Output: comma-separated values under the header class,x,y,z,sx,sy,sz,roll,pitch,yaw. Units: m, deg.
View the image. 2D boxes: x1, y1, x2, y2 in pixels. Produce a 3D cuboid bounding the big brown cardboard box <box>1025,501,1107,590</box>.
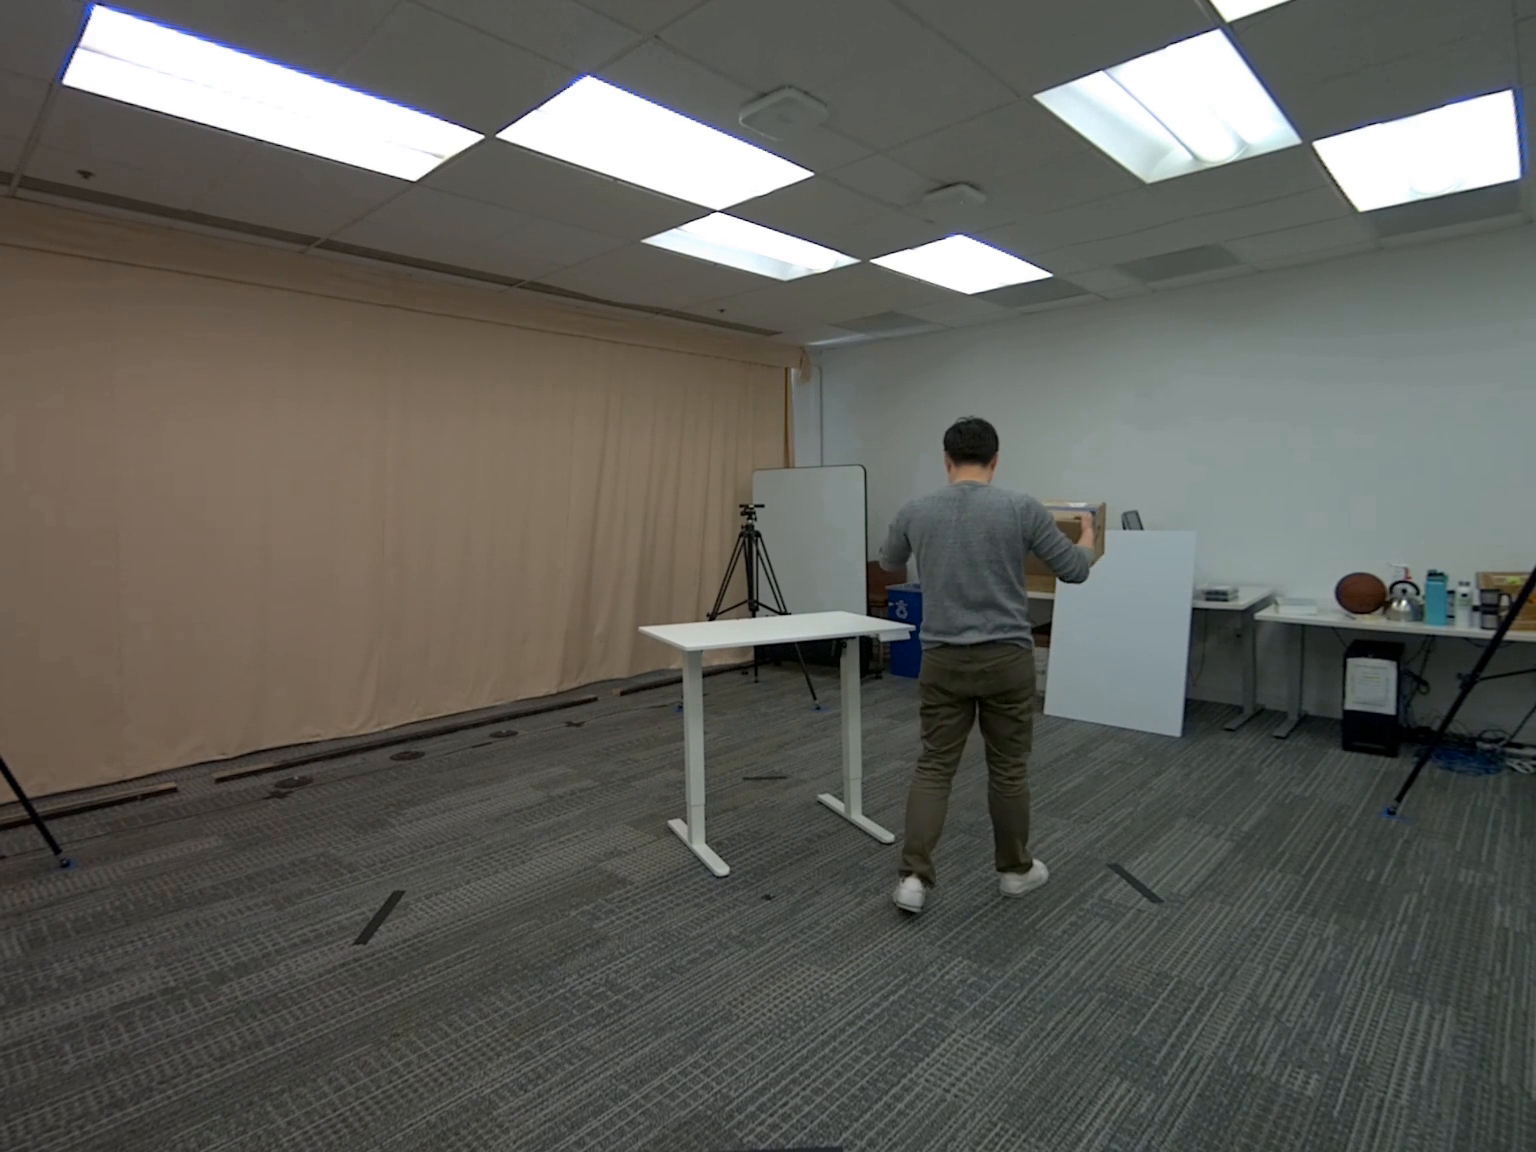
class,x,y,z,sx,sy,sz,roll,pitch,yaw
big brown cardboard box,0.984,-0.166,3.319,0.607,0.231,0.408,5,17,33
